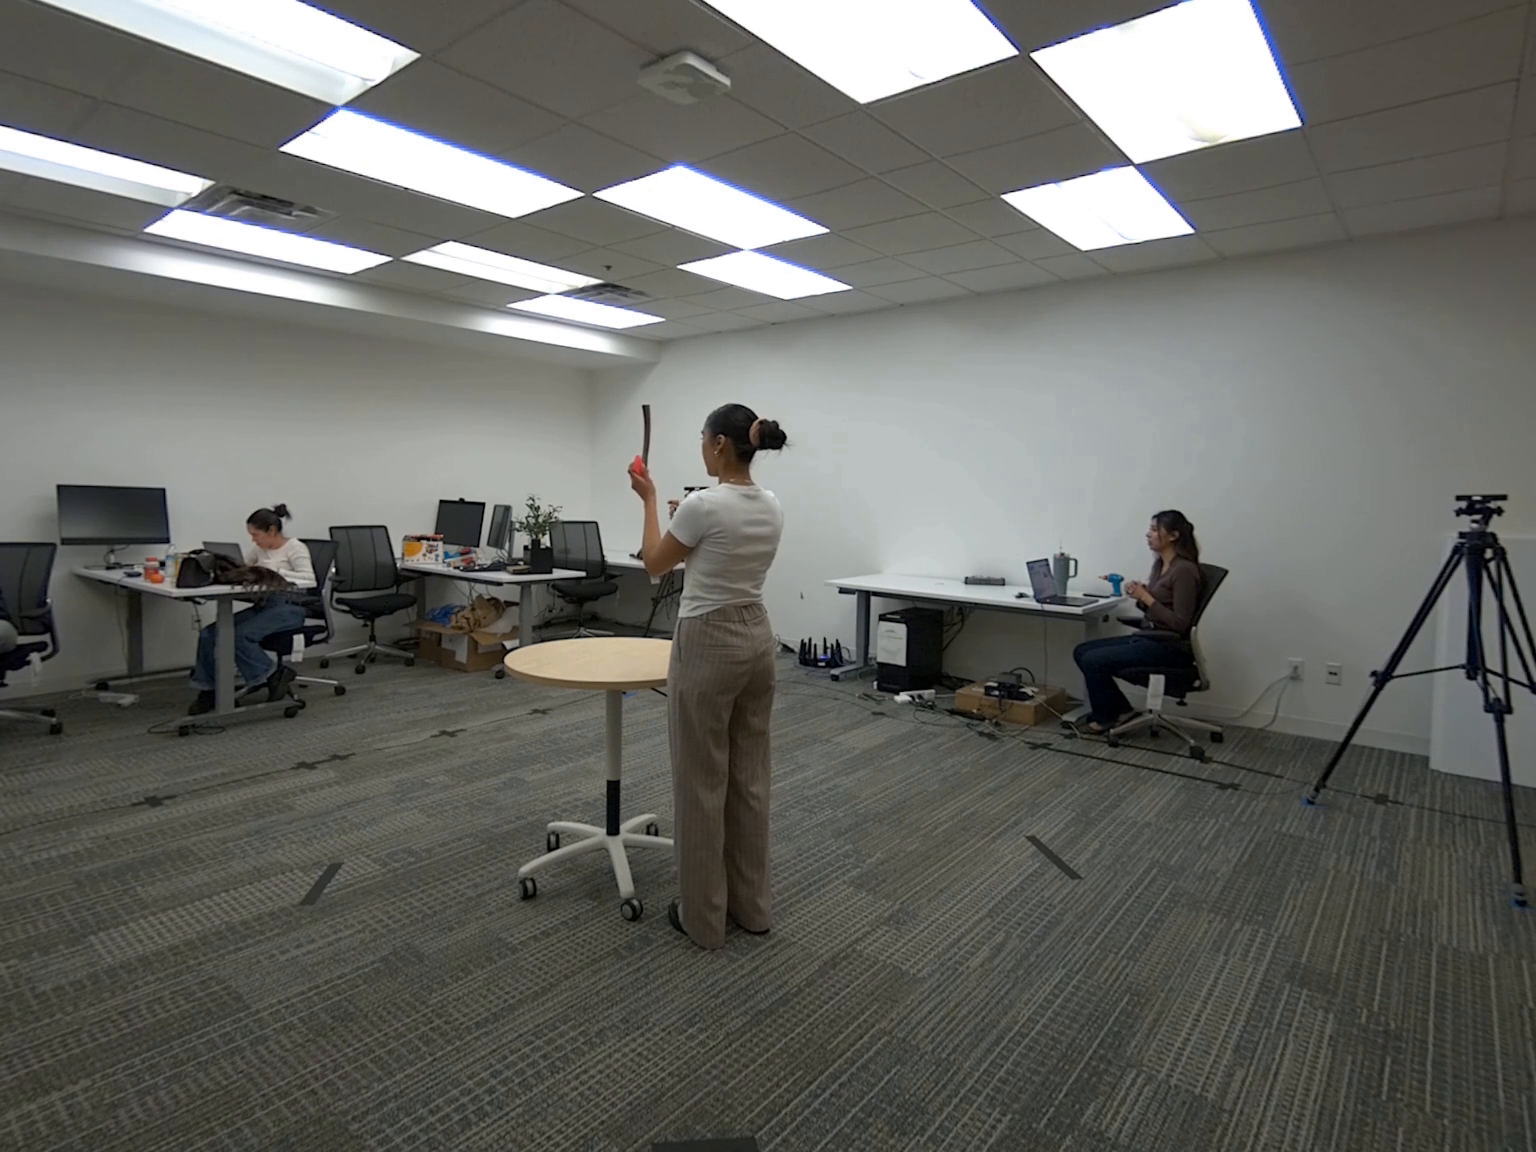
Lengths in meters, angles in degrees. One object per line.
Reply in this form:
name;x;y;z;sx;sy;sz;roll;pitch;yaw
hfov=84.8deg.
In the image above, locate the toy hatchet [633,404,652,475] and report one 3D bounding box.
toy hatchet;-0.429;-0.443;2.821;0.030;0.269;0.129;-4;3;21
